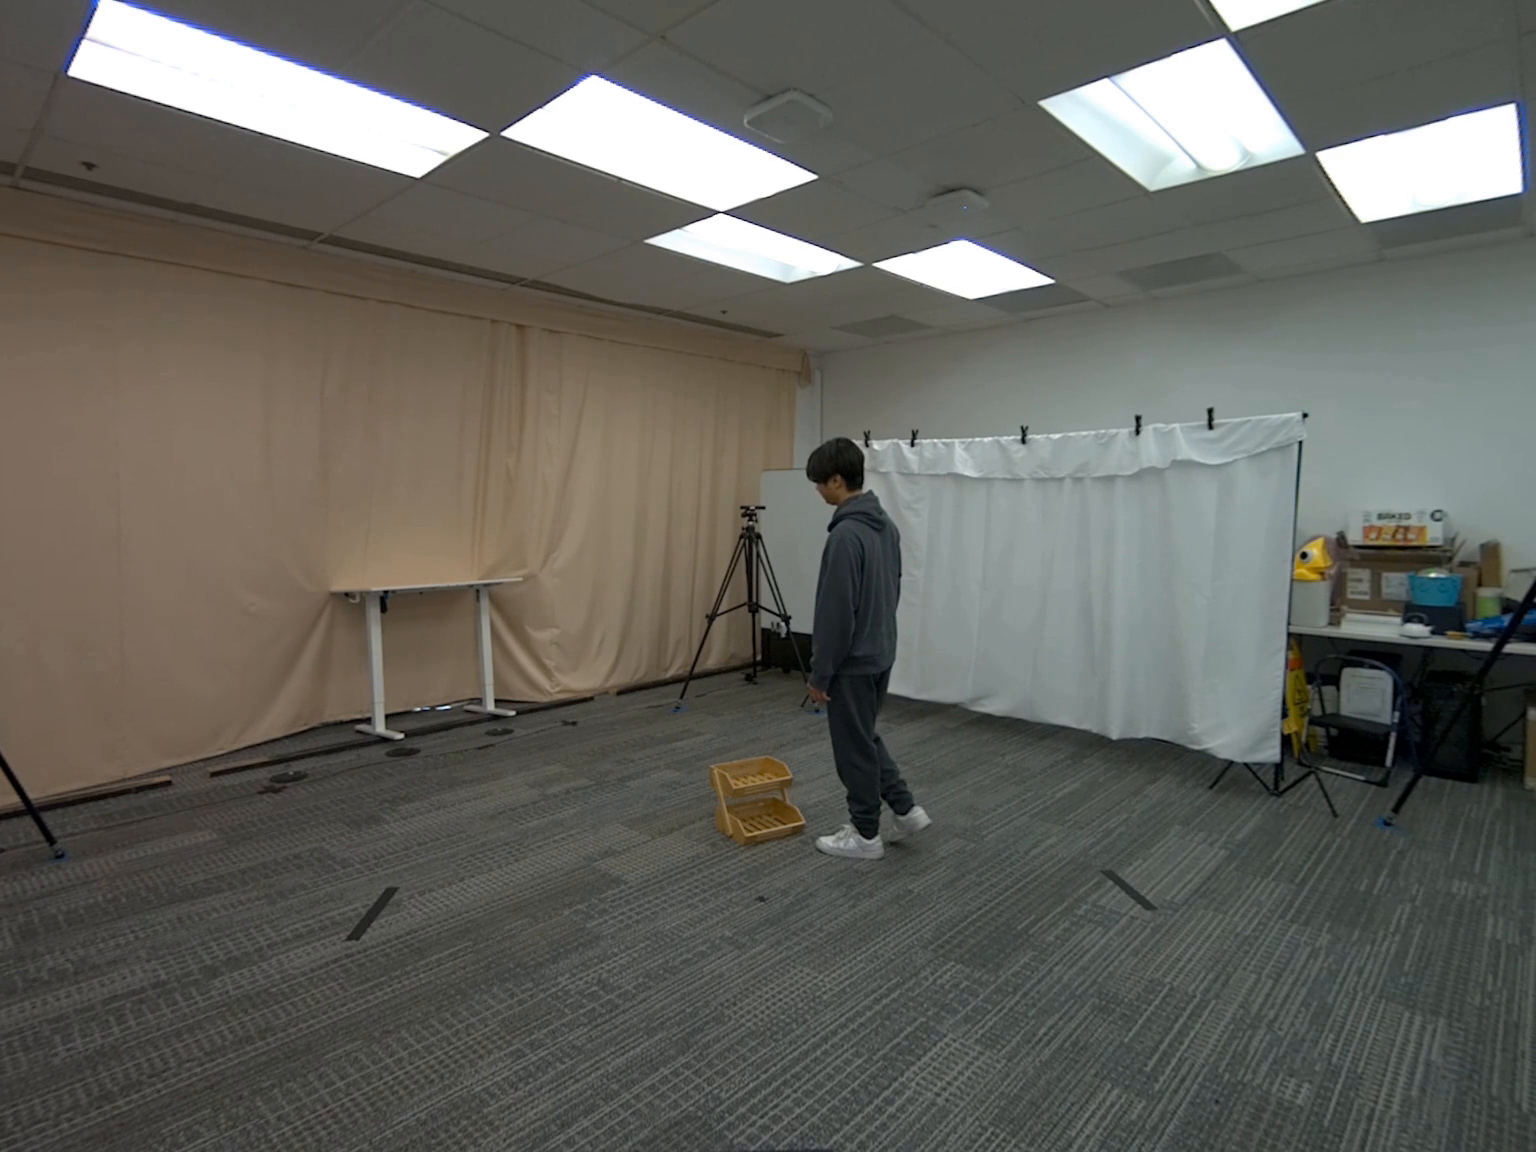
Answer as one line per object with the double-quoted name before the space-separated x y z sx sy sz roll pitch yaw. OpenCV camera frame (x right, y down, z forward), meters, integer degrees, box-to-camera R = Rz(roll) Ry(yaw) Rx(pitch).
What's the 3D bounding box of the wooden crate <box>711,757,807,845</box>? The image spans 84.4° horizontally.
"wooden crate" -0.043 0.955 3.630 0.315 0.273 0.311 -2 3 -32
